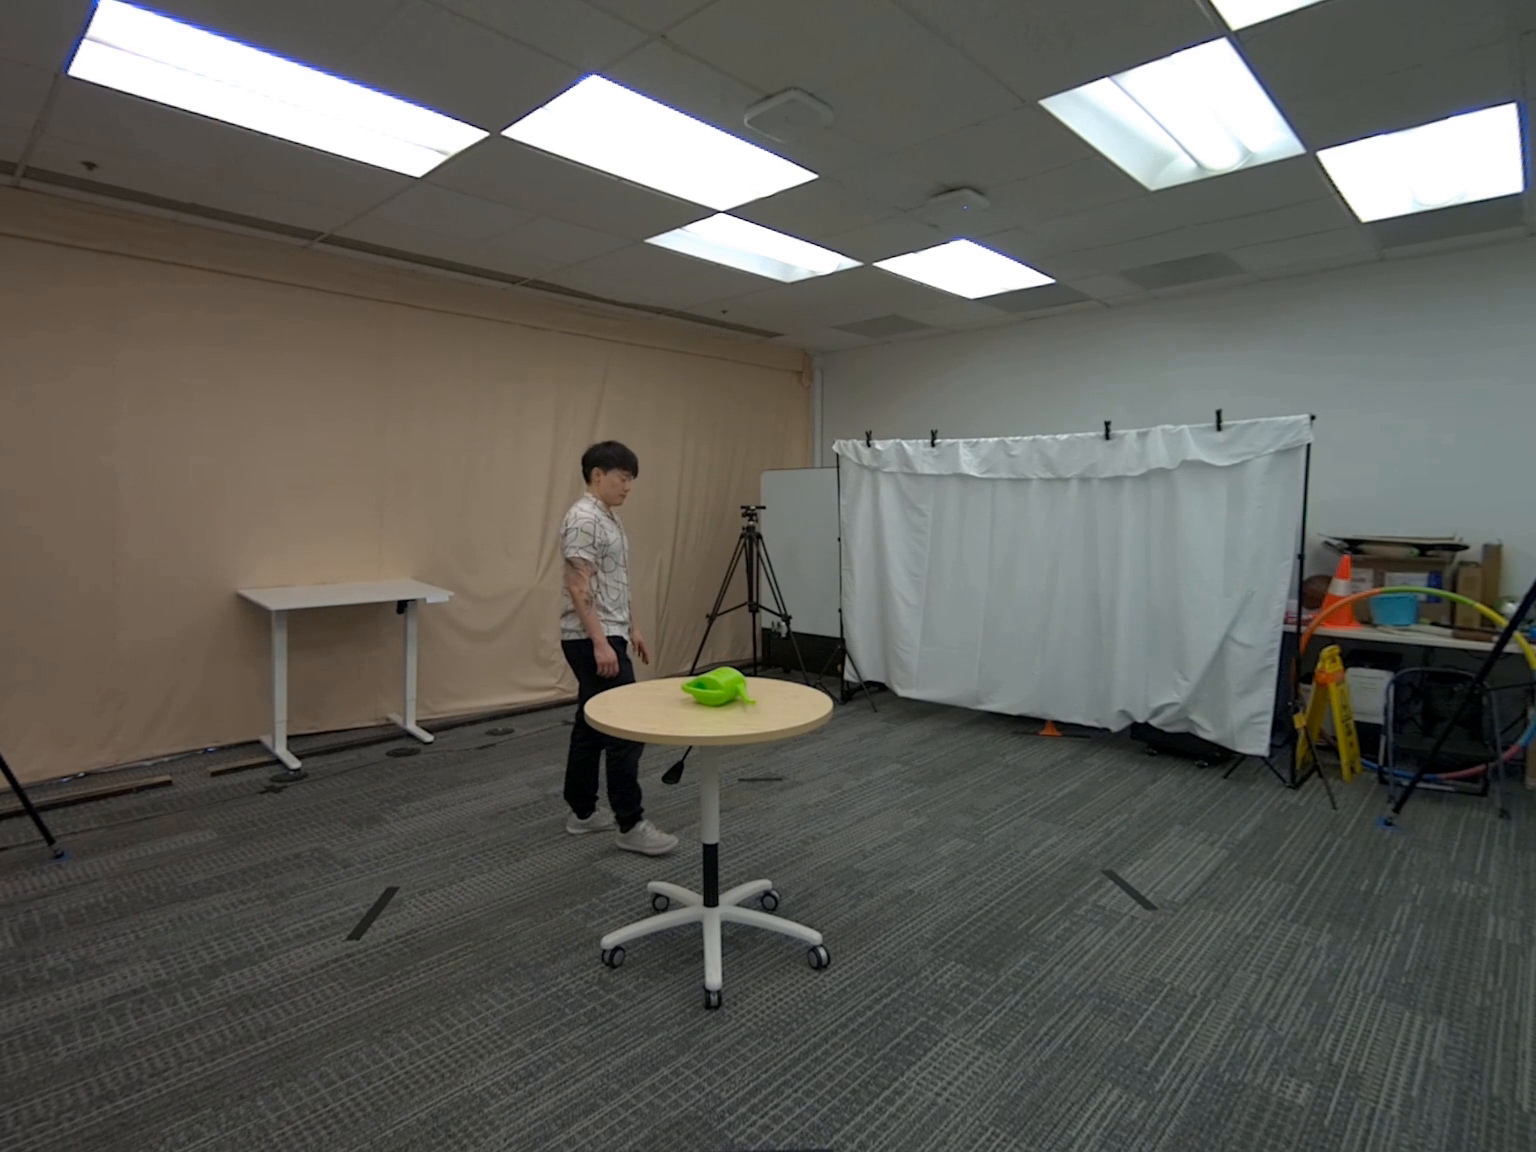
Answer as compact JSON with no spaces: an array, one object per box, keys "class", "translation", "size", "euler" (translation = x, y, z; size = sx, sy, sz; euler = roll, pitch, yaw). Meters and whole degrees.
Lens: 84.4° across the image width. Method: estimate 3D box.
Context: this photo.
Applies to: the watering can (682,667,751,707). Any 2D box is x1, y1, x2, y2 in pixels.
[{"class":"watering can","translation":[-0.124,0.358,2.571],"size":[0.287,0.097,0.172],"euler":[19,14,28]}]
